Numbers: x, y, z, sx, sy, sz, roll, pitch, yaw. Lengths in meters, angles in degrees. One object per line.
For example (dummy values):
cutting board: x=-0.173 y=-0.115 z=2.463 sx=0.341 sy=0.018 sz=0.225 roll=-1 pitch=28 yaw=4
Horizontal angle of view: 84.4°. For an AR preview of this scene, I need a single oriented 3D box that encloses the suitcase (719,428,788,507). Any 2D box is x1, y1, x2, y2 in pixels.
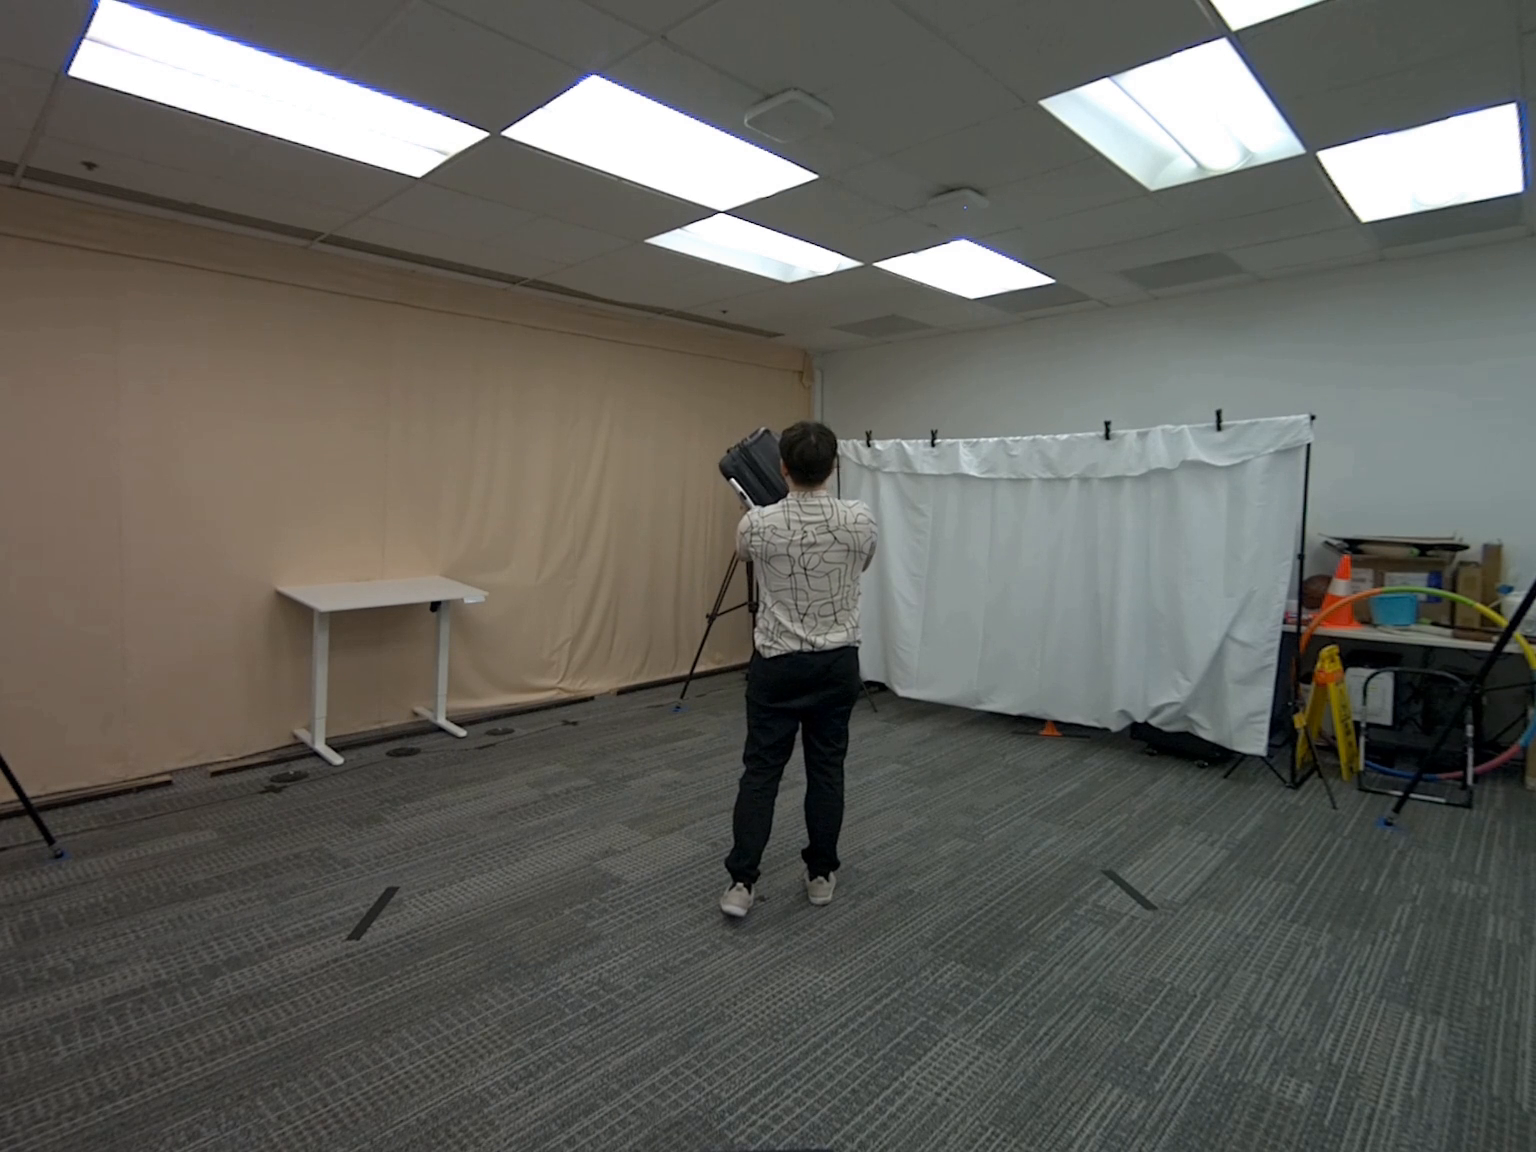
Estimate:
suitcase: x=0.031 y=-0.380 z=3.355 sx=0.249 sy=0.378 sz=0.543 roll=-37 pitch=-5 yaw=9
